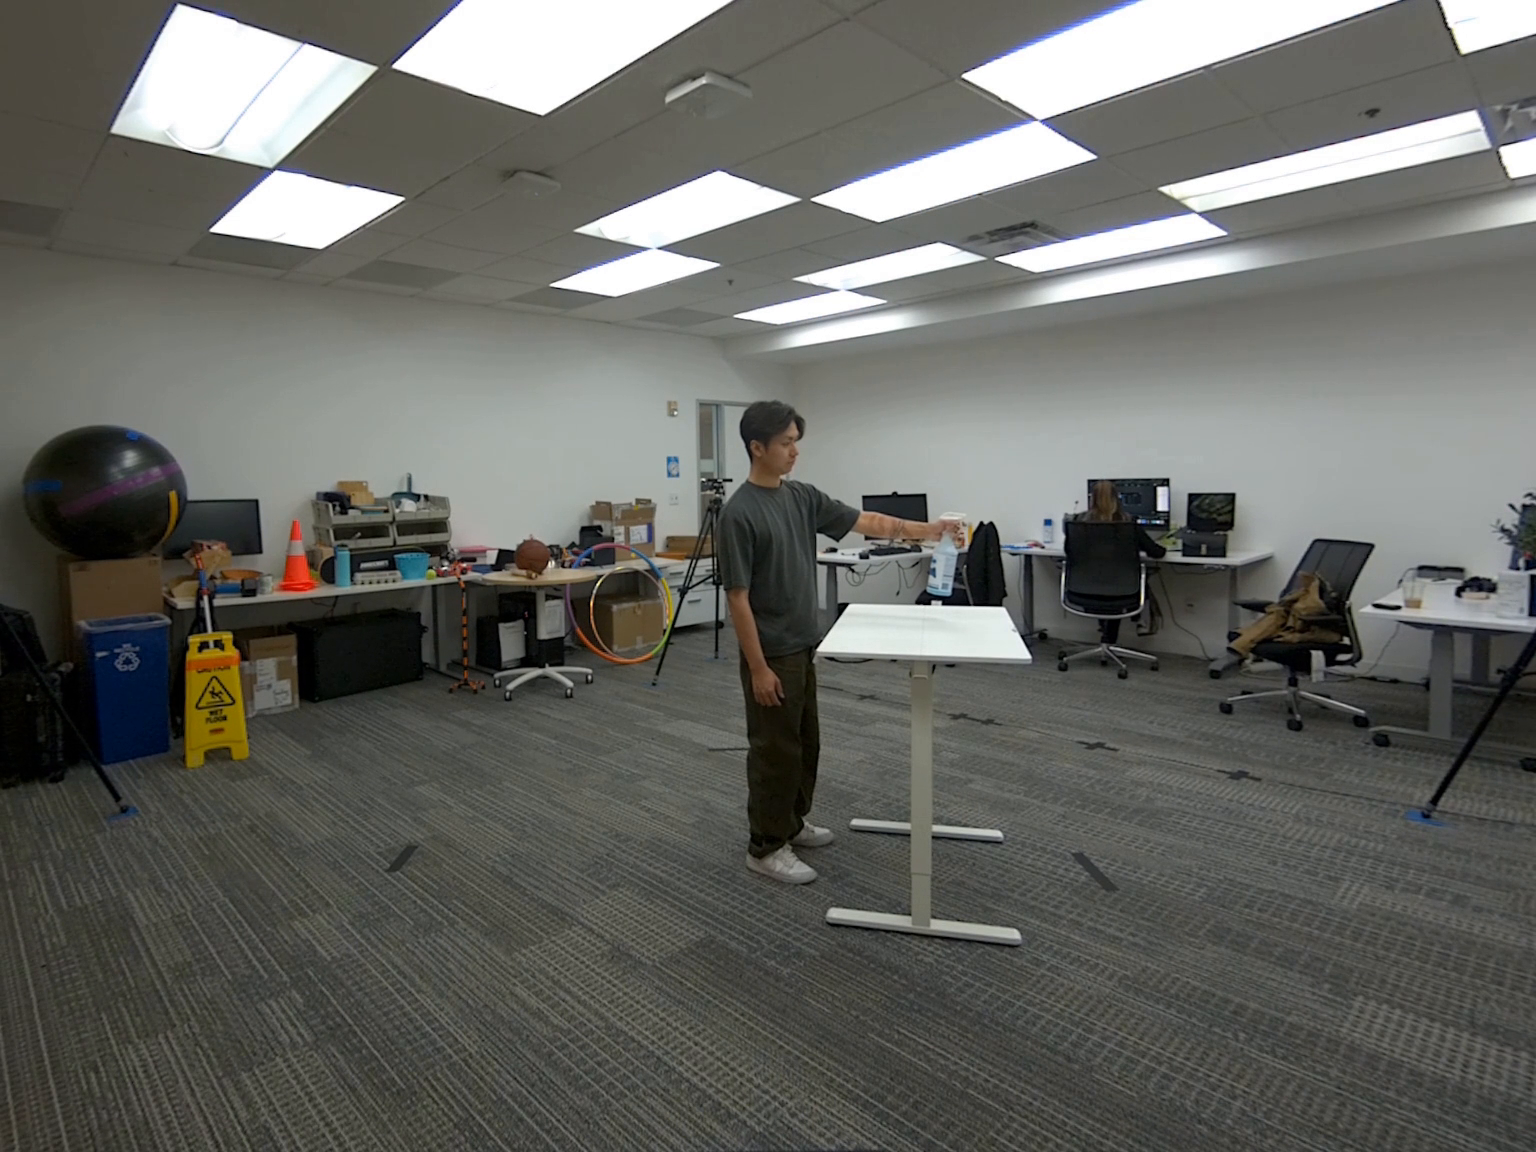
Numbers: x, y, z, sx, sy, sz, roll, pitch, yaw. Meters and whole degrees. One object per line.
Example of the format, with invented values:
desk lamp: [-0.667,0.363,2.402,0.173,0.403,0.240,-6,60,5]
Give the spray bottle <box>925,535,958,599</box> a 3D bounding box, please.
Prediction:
spray bottle: [0.632,-0.078,3.048,0.084,0.296,0.093,4,7,-42]
